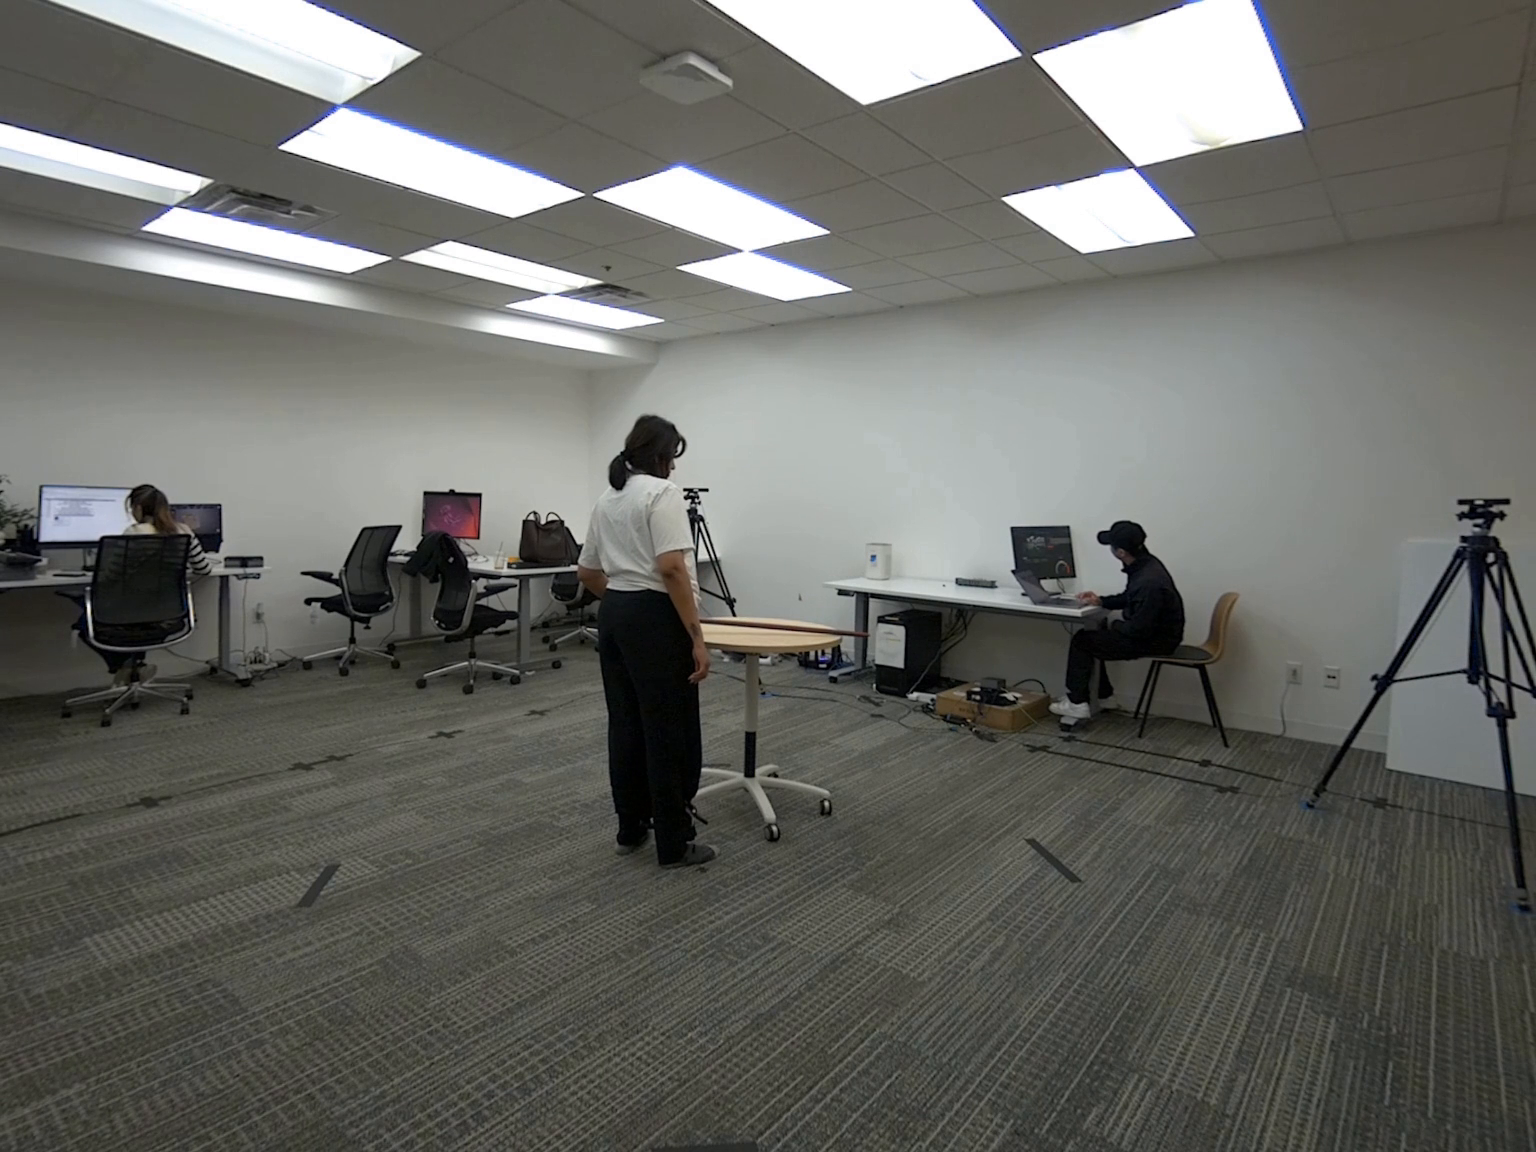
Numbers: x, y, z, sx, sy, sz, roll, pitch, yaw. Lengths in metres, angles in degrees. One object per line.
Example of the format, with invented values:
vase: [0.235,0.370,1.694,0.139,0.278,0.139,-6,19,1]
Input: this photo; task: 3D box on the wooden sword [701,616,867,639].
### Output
wooden sword: [-0.116,0.195,3.533,1.026,0.023,0.052,7,43,1]
